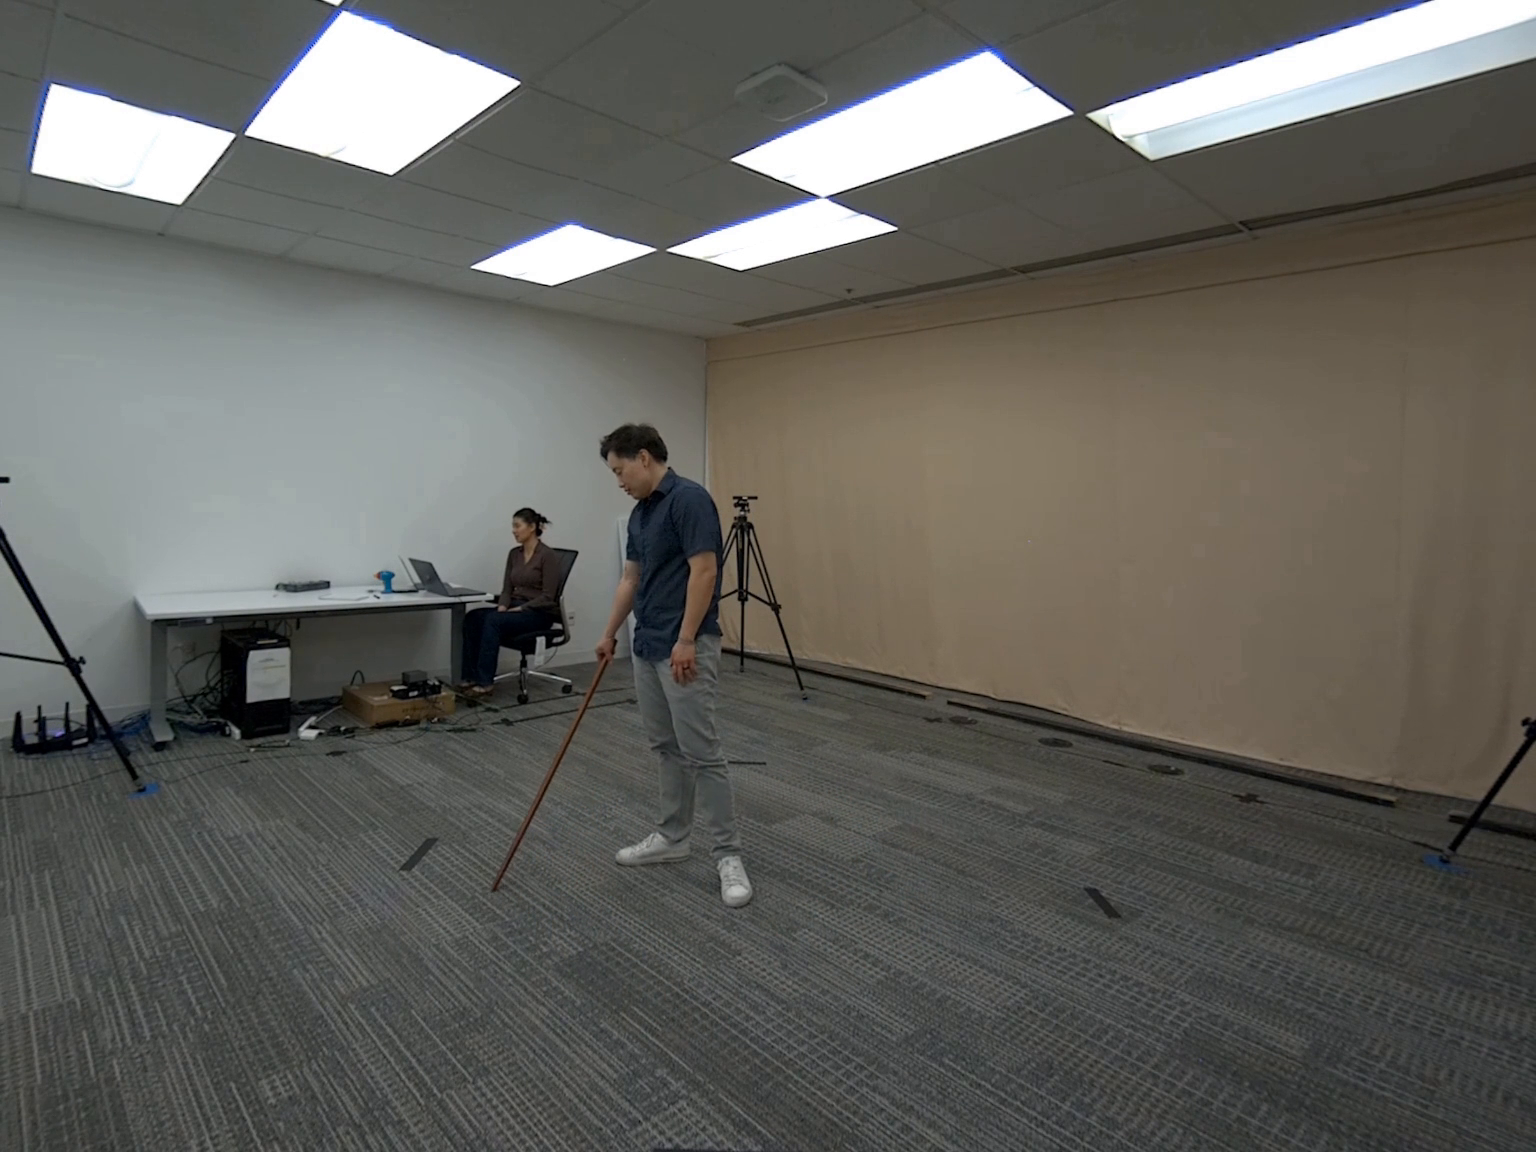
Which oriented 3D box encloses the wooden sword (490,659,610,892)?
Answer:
[{"bbox_3d":[-0.787,0.679,3.194,0.024,1.034,0.050,19,-31,6],"label":"wooden sword"}]
